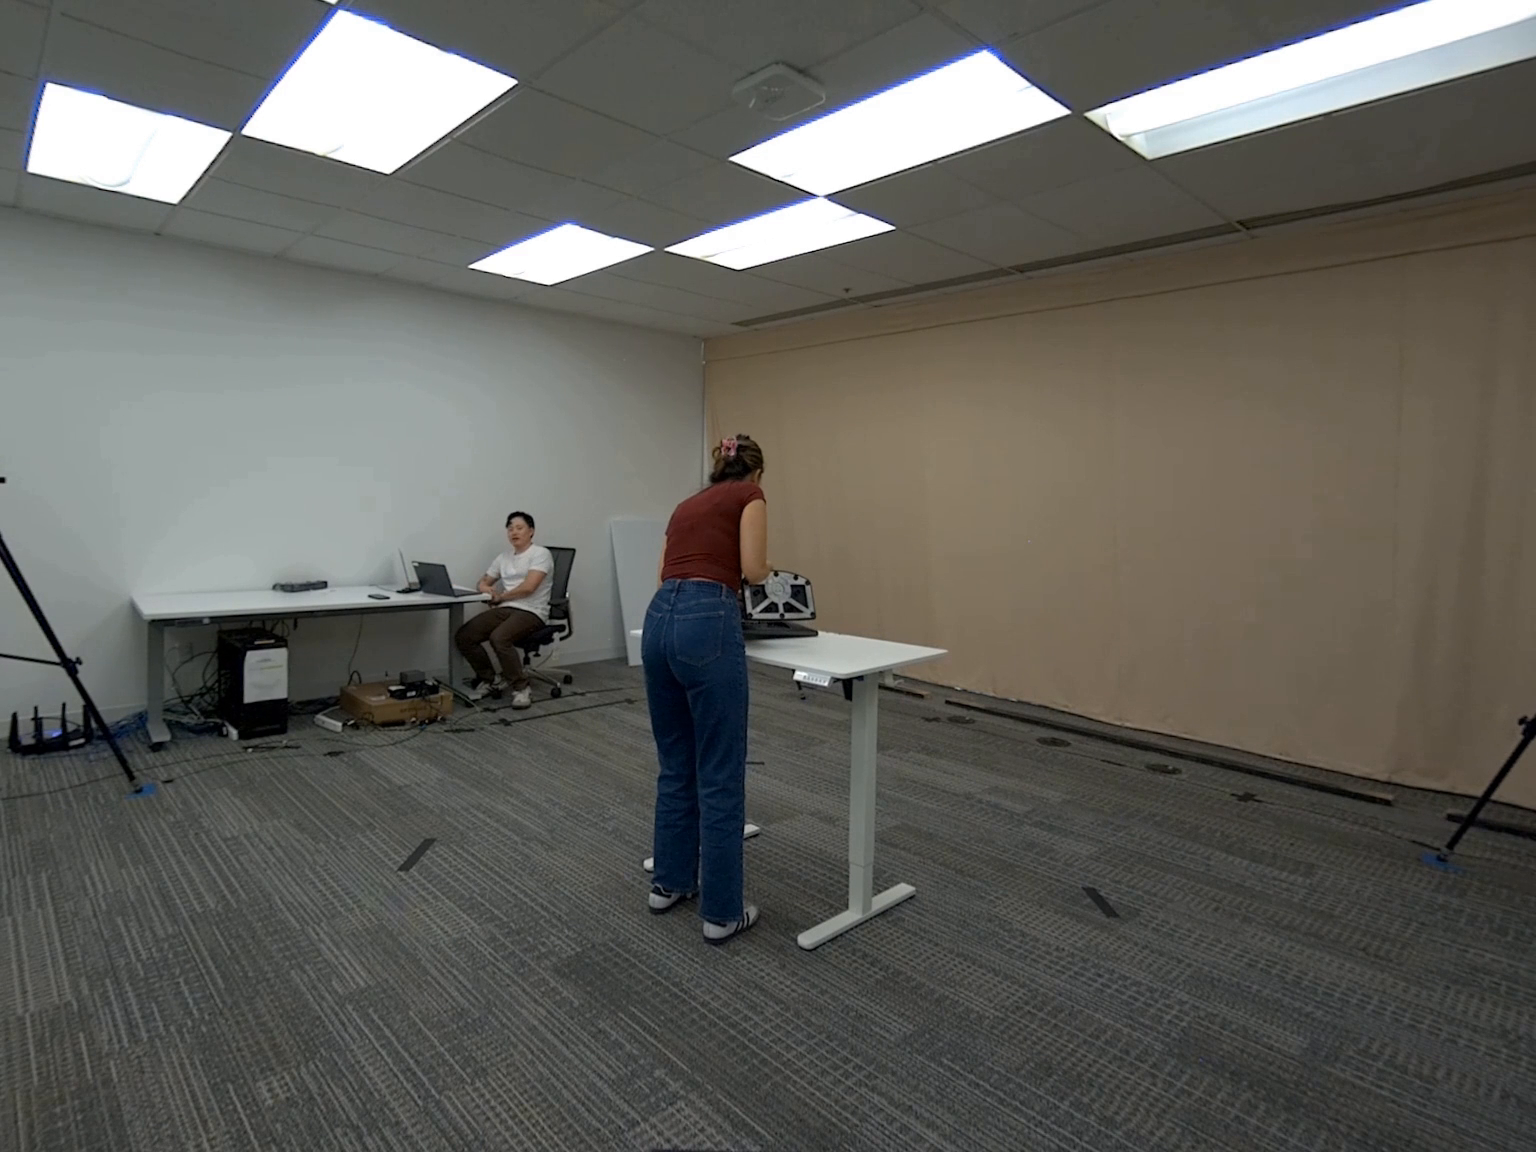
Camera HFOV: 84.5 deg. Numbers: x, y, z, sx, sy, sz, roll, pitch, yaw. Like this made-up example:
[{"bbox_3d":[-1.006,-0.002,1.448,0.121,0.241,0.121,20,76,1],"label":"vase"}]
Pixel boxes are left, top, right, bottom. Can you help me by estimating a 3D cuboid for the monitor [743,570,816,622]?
[{"bbox_3d":[-0.079,0.129,3.103,0.528,0.189,0.528,5,-14,-26],"label":"monitor"}]
